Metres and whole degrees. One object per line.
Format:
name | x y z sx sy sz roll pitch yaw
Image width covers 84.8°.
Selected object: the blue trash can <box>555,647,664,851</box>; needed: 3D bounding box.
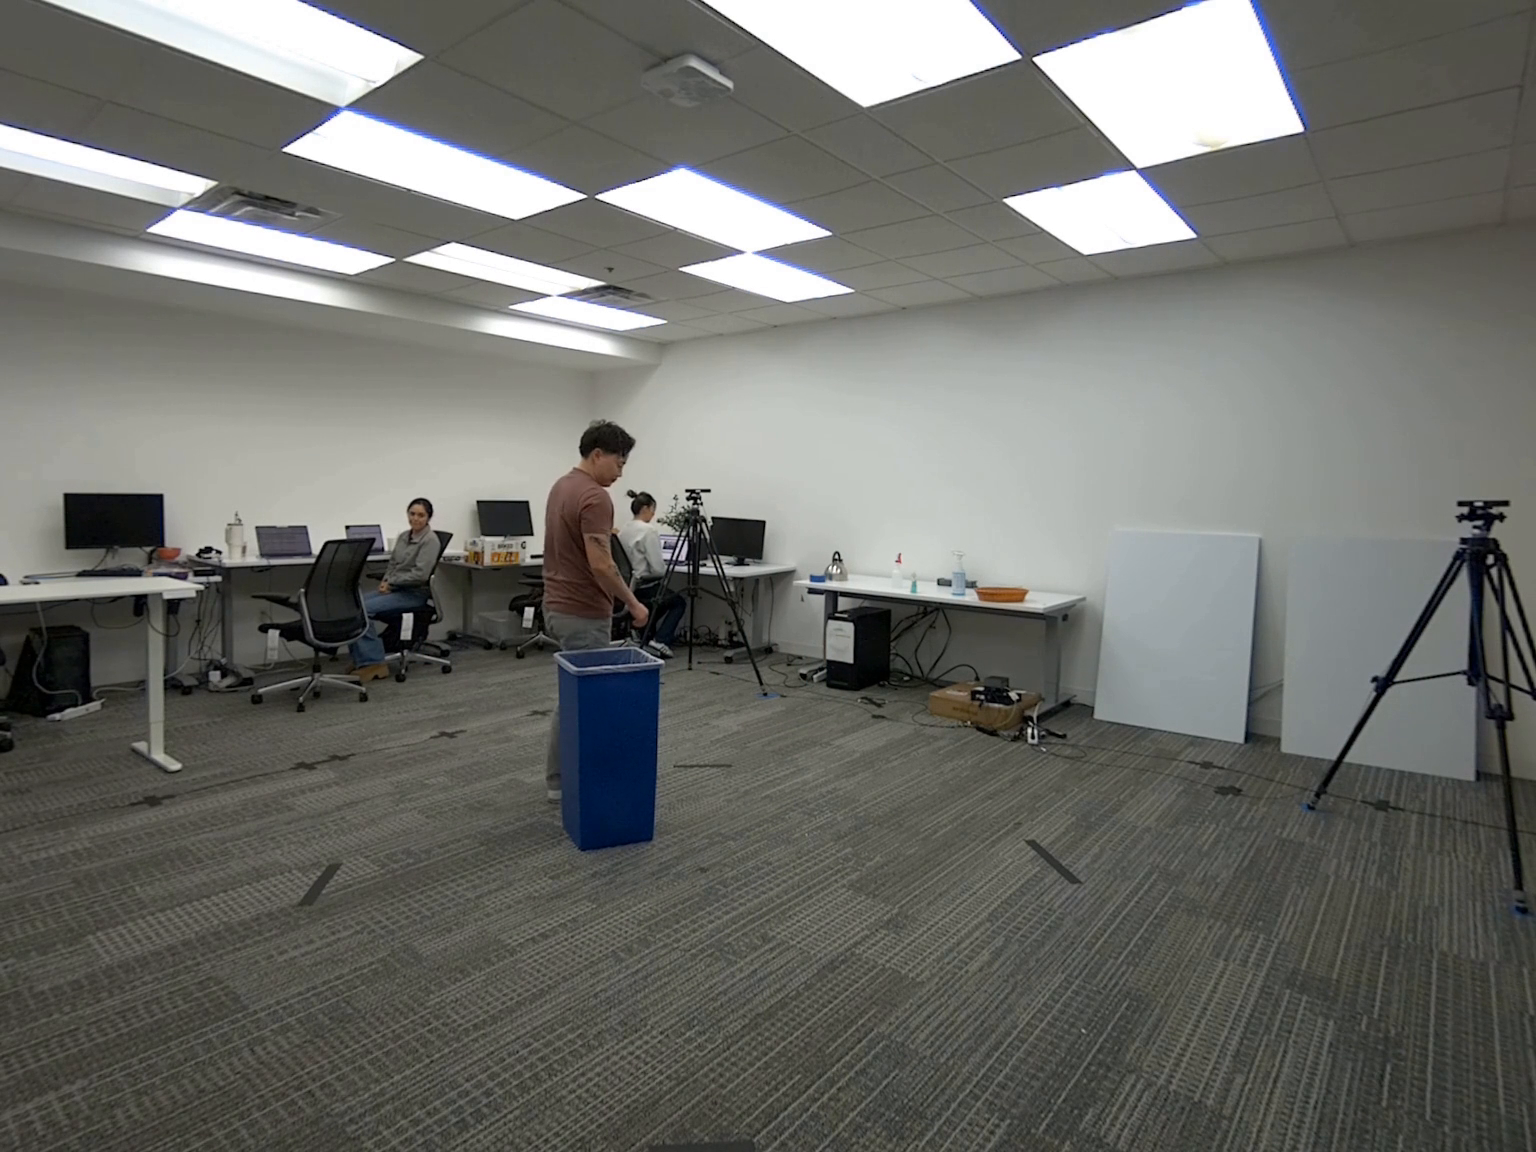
blue trash can | -0.661 0.677 3.421 0.365 0.712 0.388 0 3 -27
